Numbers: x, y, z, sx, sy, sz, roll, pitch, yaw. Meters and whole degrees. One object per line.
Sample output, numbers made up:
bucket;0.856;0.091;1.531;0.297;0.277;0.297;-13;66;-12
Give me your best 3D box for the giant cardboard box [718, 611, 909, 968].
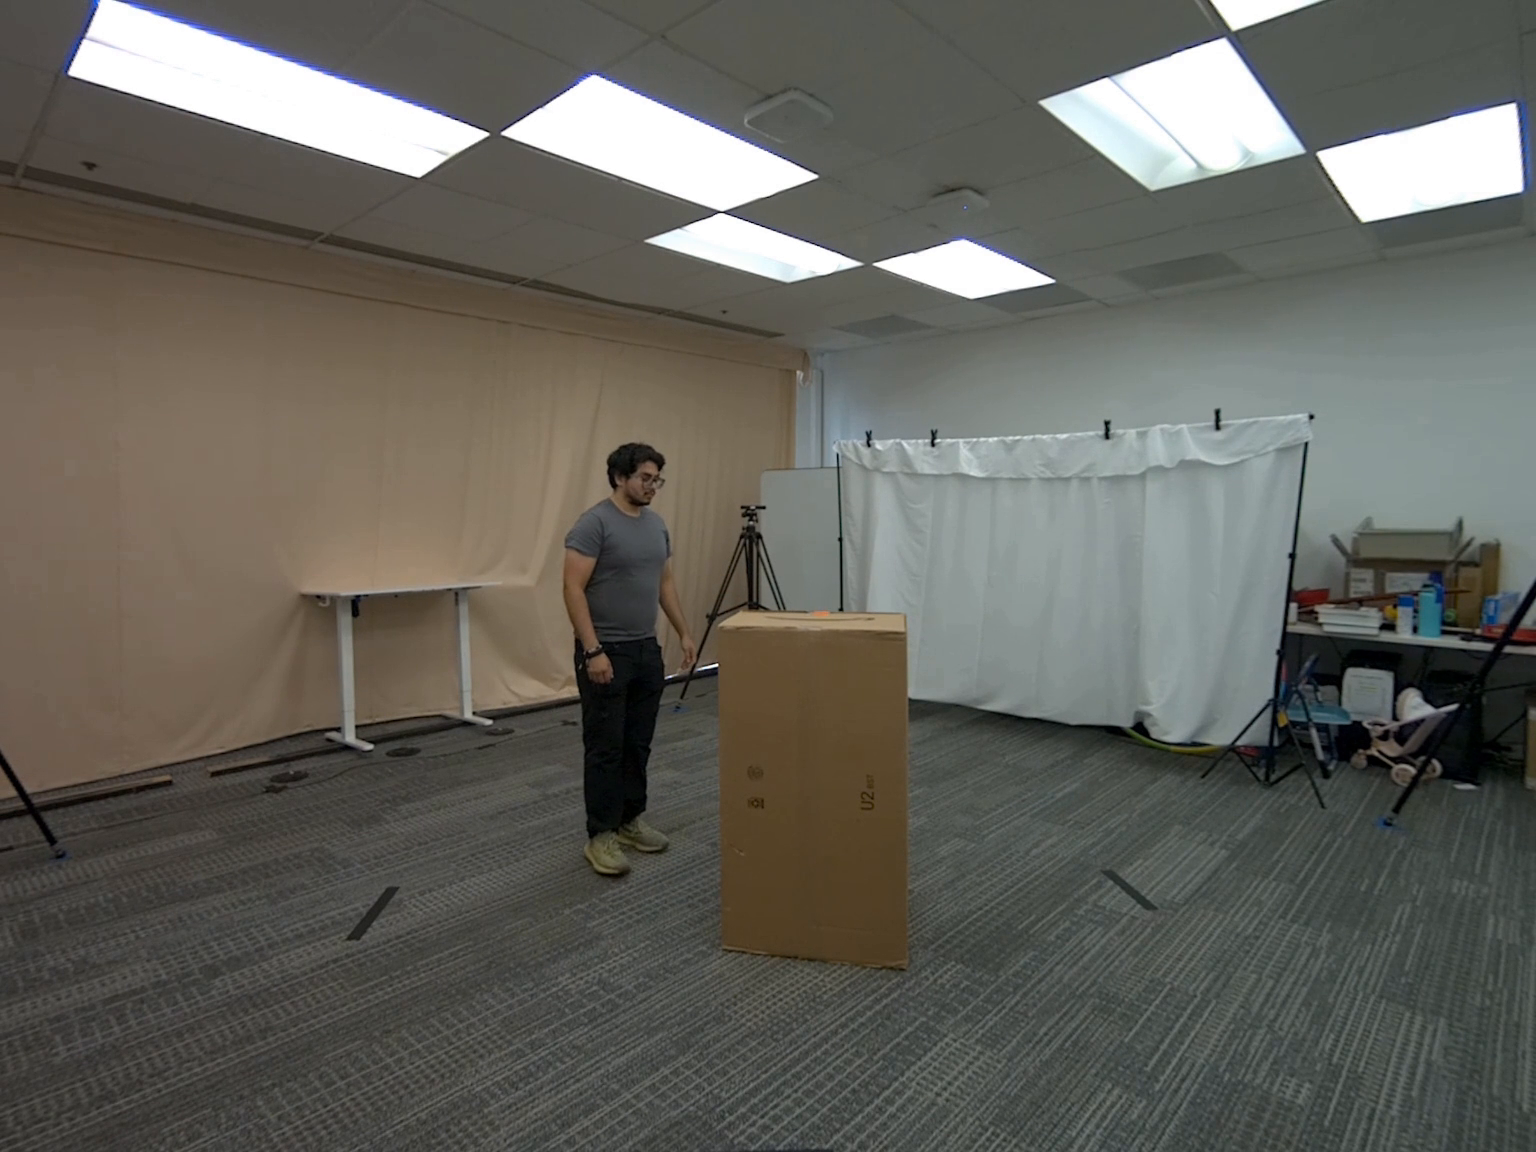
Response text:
giant cardboard box;0.166;0.651;2.764;0.585;1.024;0.421;0;3;11
